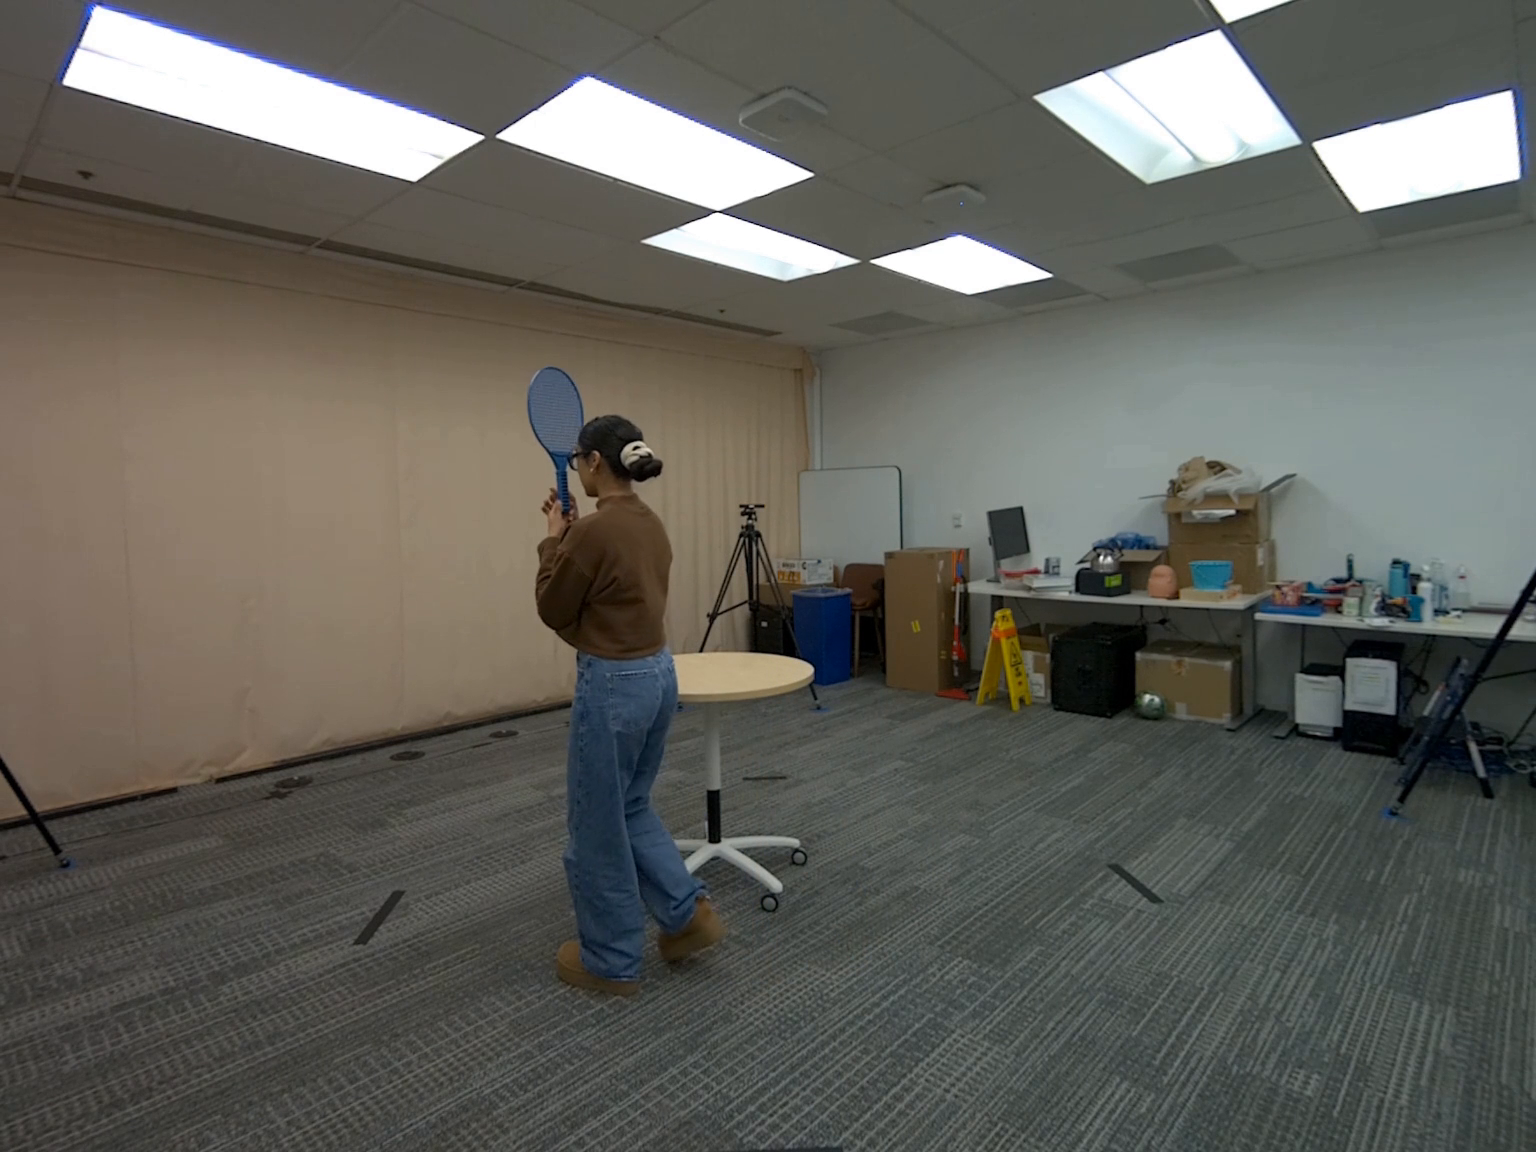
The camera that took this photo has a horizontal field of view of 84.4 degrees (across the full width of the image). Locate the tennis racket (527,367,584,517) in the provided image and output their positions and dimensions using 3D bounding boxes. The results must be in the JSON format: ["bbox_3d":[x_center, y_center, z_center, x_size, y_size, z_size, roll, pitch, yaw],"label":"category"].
[{"bbox_3d":[-0.605,-0.408,2.495,0.033,0.434,0.207,-6,-3,35],"label":"tennis racket"}]
